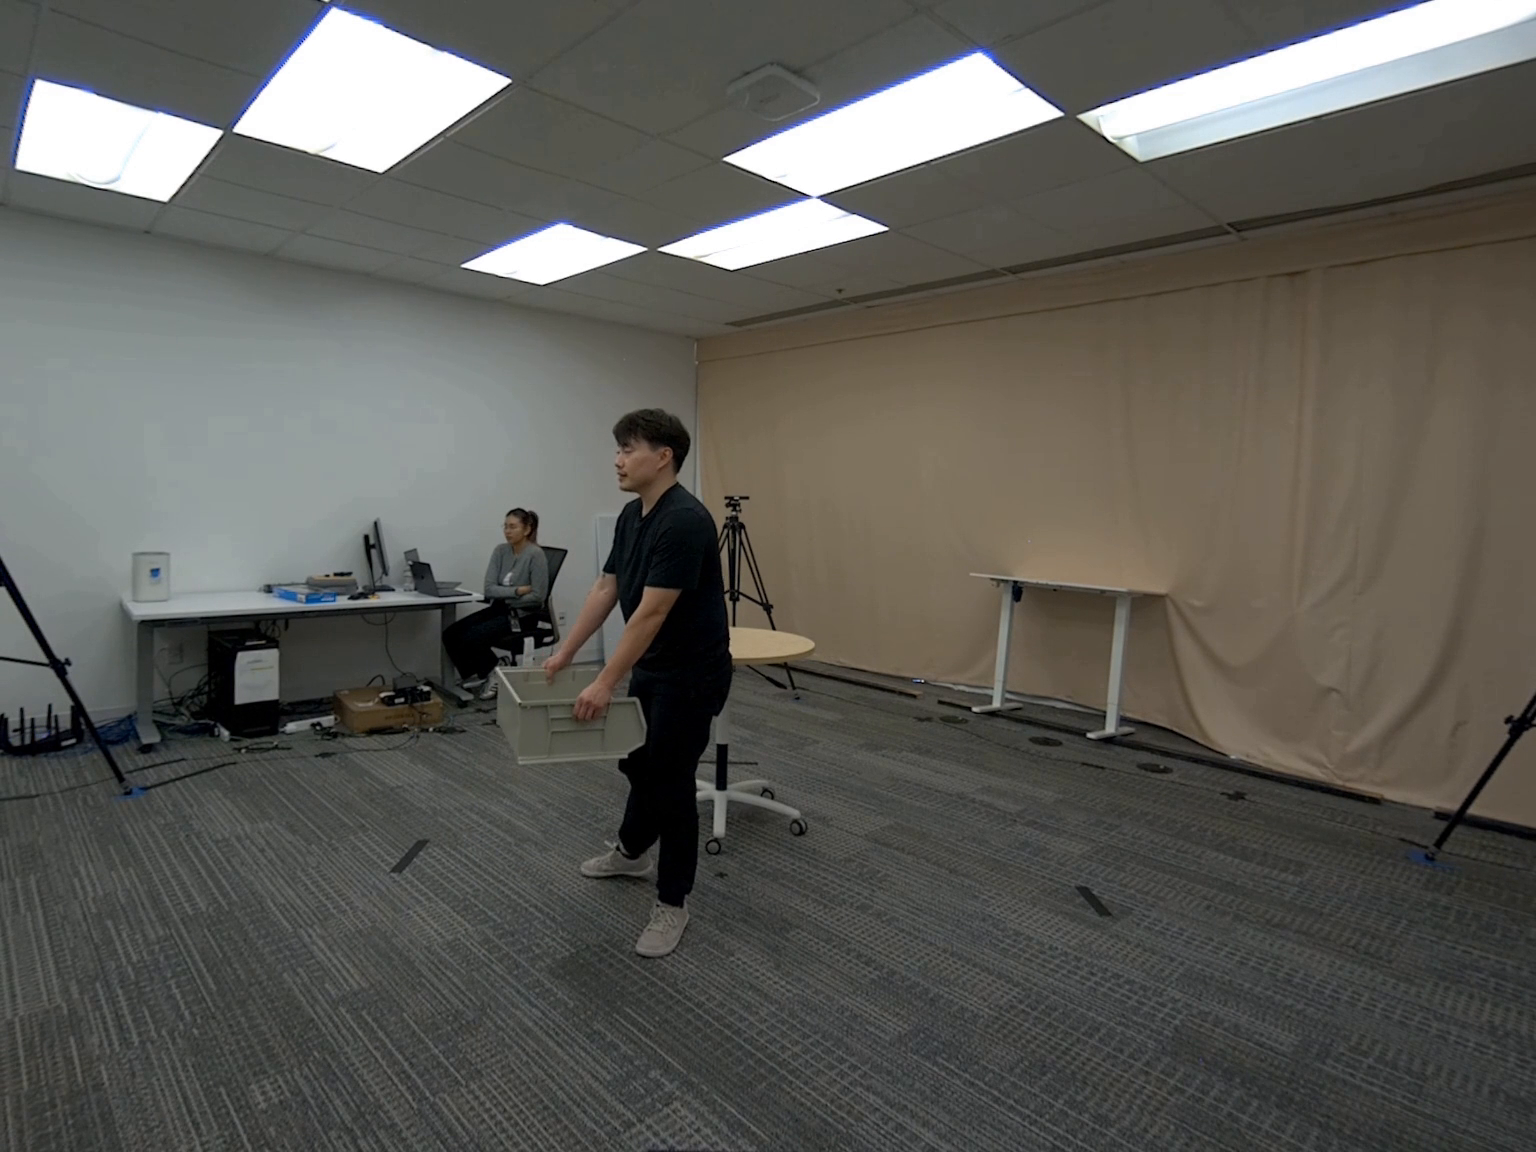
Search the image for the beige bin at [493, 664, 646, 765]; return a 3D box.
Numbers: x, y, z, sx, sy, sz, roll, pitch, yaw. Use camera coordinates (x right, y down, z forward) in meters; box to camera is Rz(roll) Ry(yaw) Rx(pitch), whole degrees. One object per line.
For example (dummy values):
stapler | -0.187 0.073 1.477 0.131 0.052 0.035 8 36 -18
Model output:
beige bin | -0.618 0.411 2.561 0.370 0.188 0.432 0 8 -25
